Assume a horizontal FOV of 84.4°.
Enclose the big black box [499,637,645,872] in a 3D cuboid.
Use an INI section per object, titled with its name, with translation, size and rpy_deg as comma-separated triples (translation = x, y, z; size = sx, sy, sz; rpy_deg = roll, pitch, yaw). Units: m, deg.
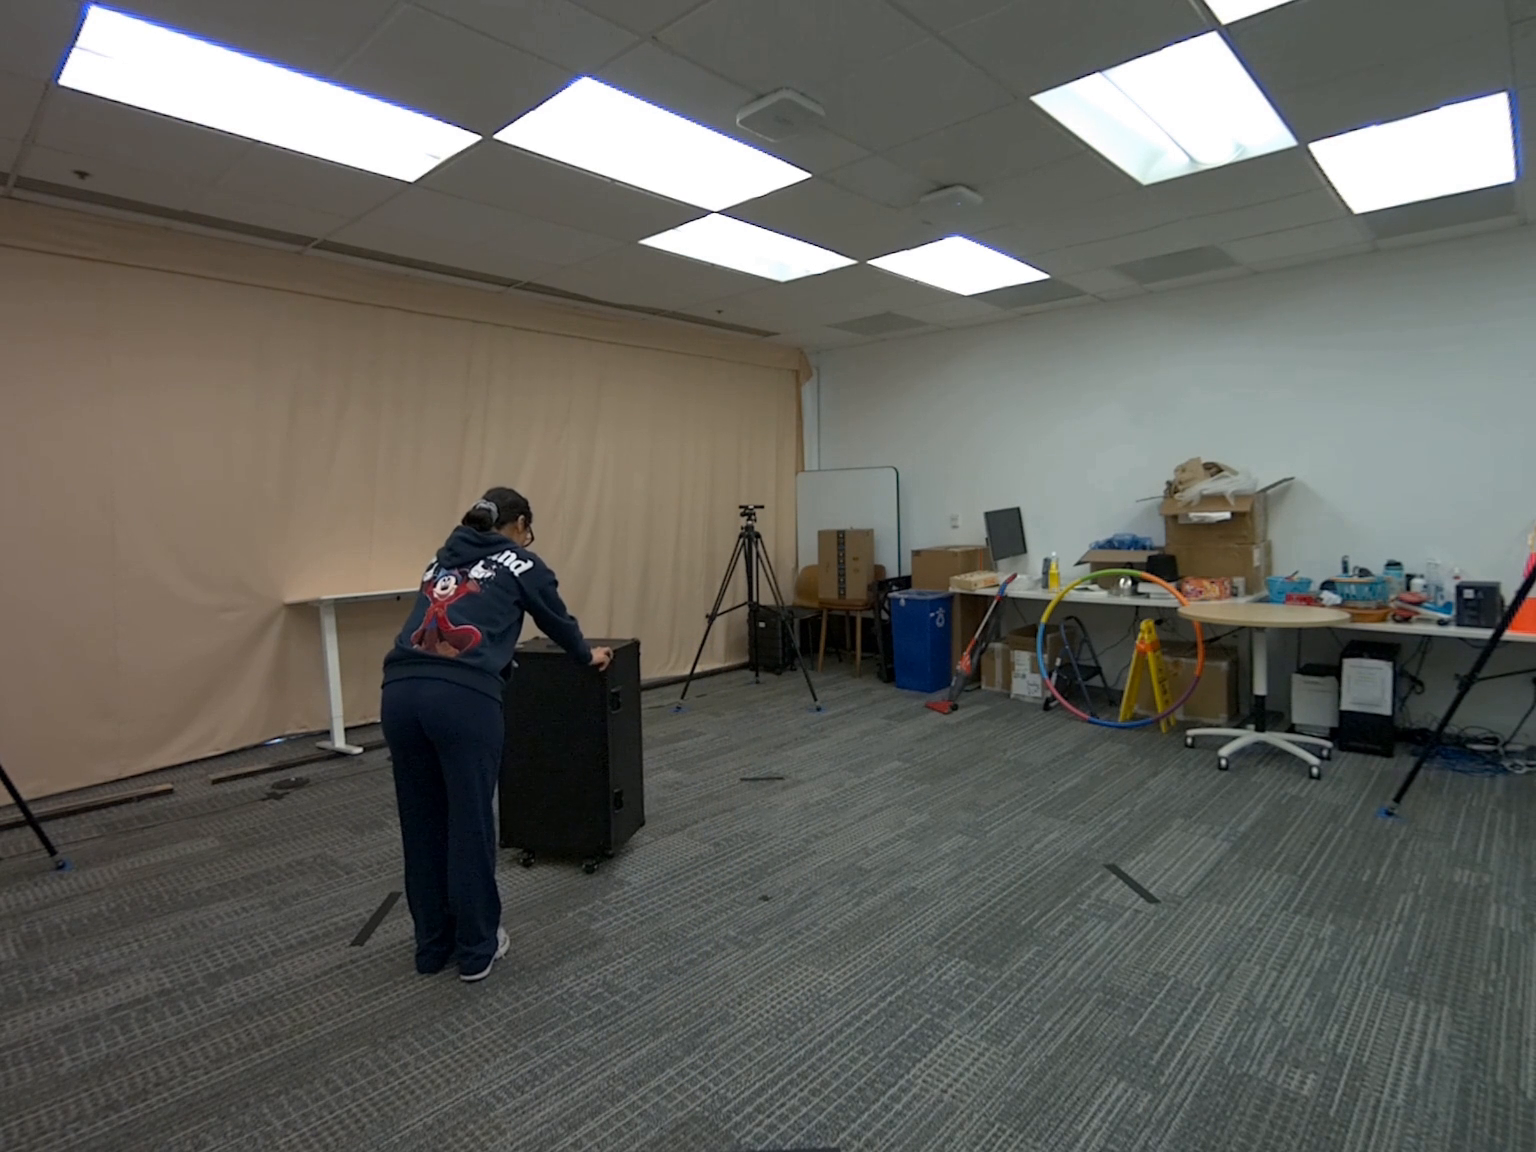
[big black box]
translation = -0.796, 0.696, 3.408
size = 0.530, 0.860, 0.390
rpy_deg = 0, 3, 16
